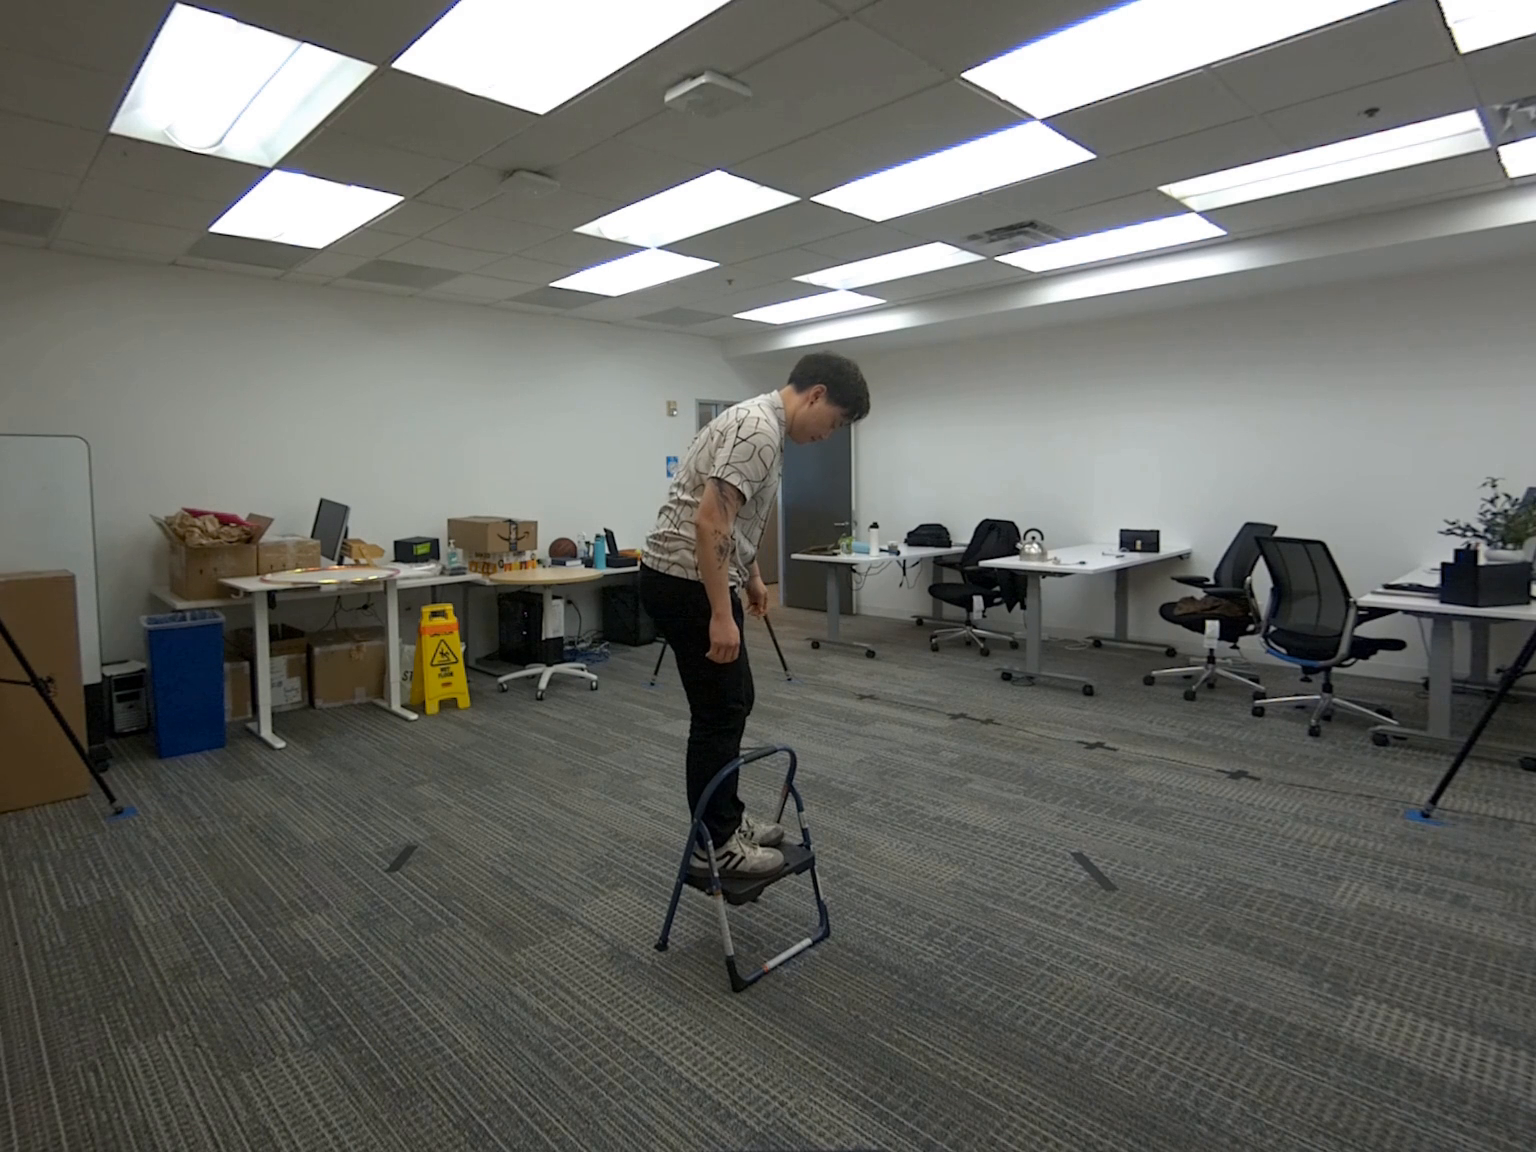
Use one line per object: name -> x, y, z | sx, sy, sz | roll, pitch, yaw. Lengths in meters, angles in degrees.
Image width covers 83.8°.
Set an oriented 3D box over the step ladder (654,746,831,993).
step ladder -> -0.072, 0.802, 2.567 | 0.360, 0.603, 0.419 | 4, 7, 43
